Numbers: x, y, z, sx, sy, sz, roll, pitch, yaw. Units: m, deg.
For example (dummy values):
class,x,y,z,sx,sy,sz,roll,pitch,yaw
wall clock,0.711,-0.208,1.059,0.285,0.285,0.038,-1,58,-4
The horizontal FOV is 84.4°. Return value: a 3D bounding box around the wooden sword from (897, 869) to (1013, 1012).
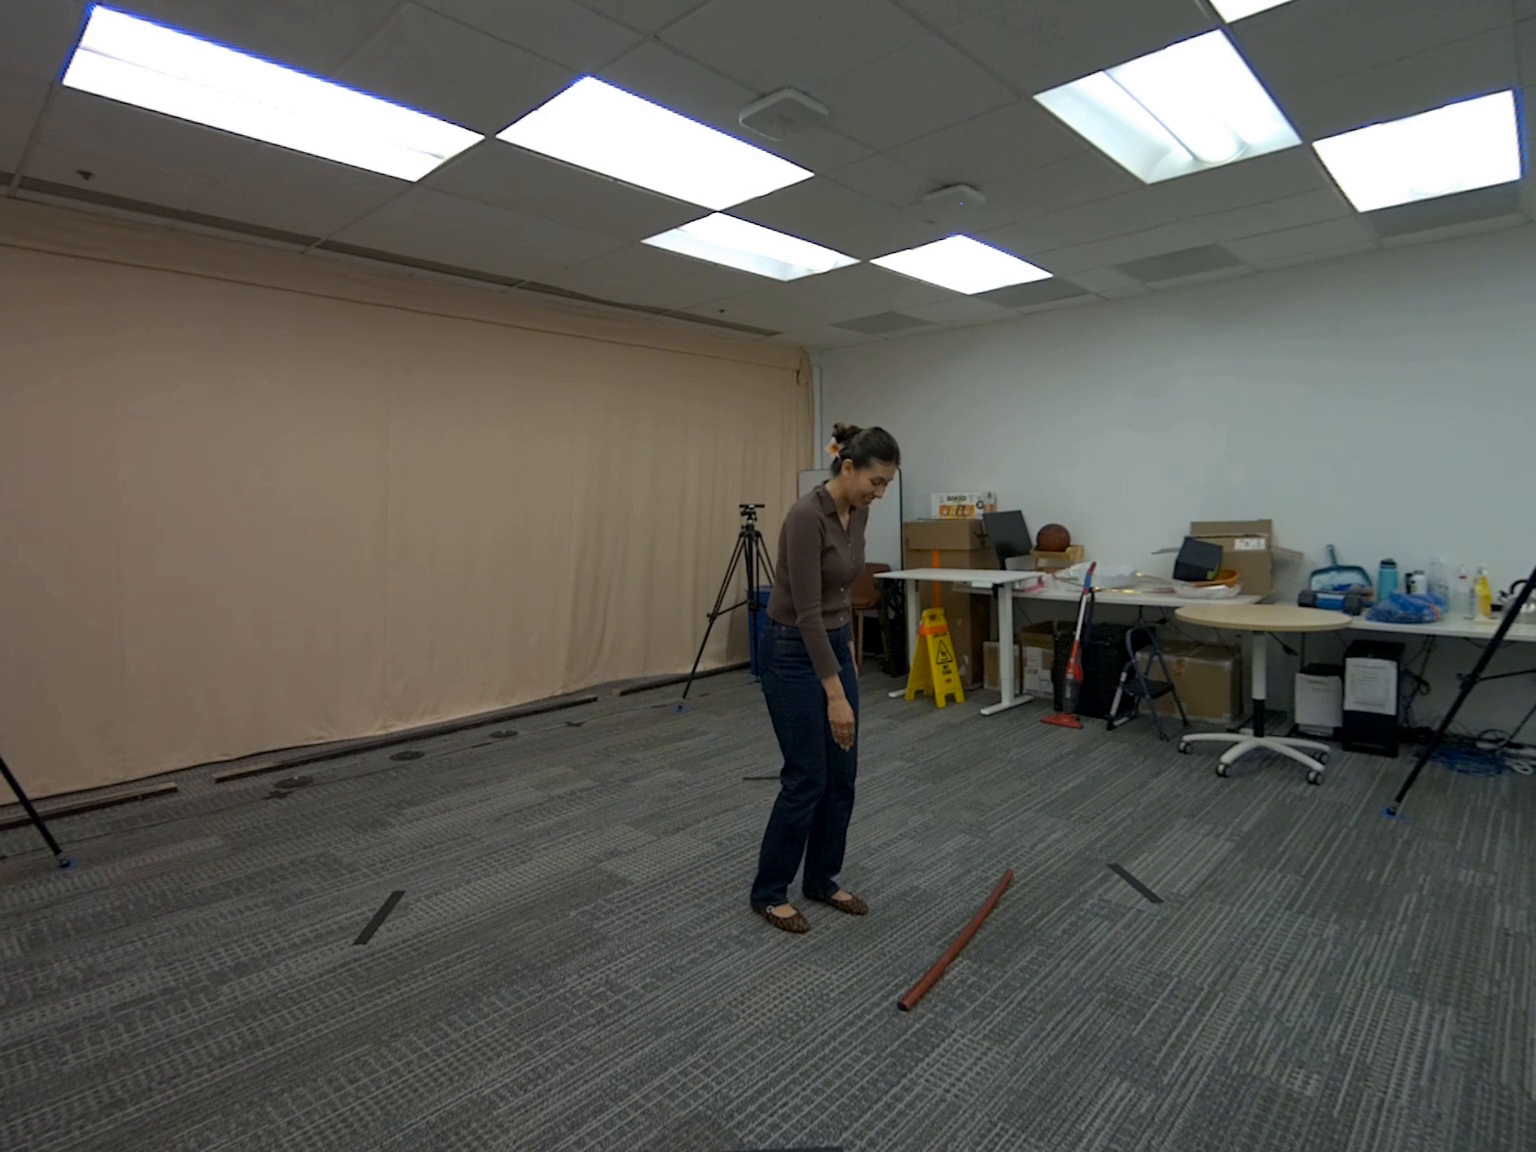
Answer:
class,x,y,z,sx,sy,sz,roll,pitch,yaw
wooden sword,0.633,1.130,2.710,0.053,0.024,0.996,8,8,32
